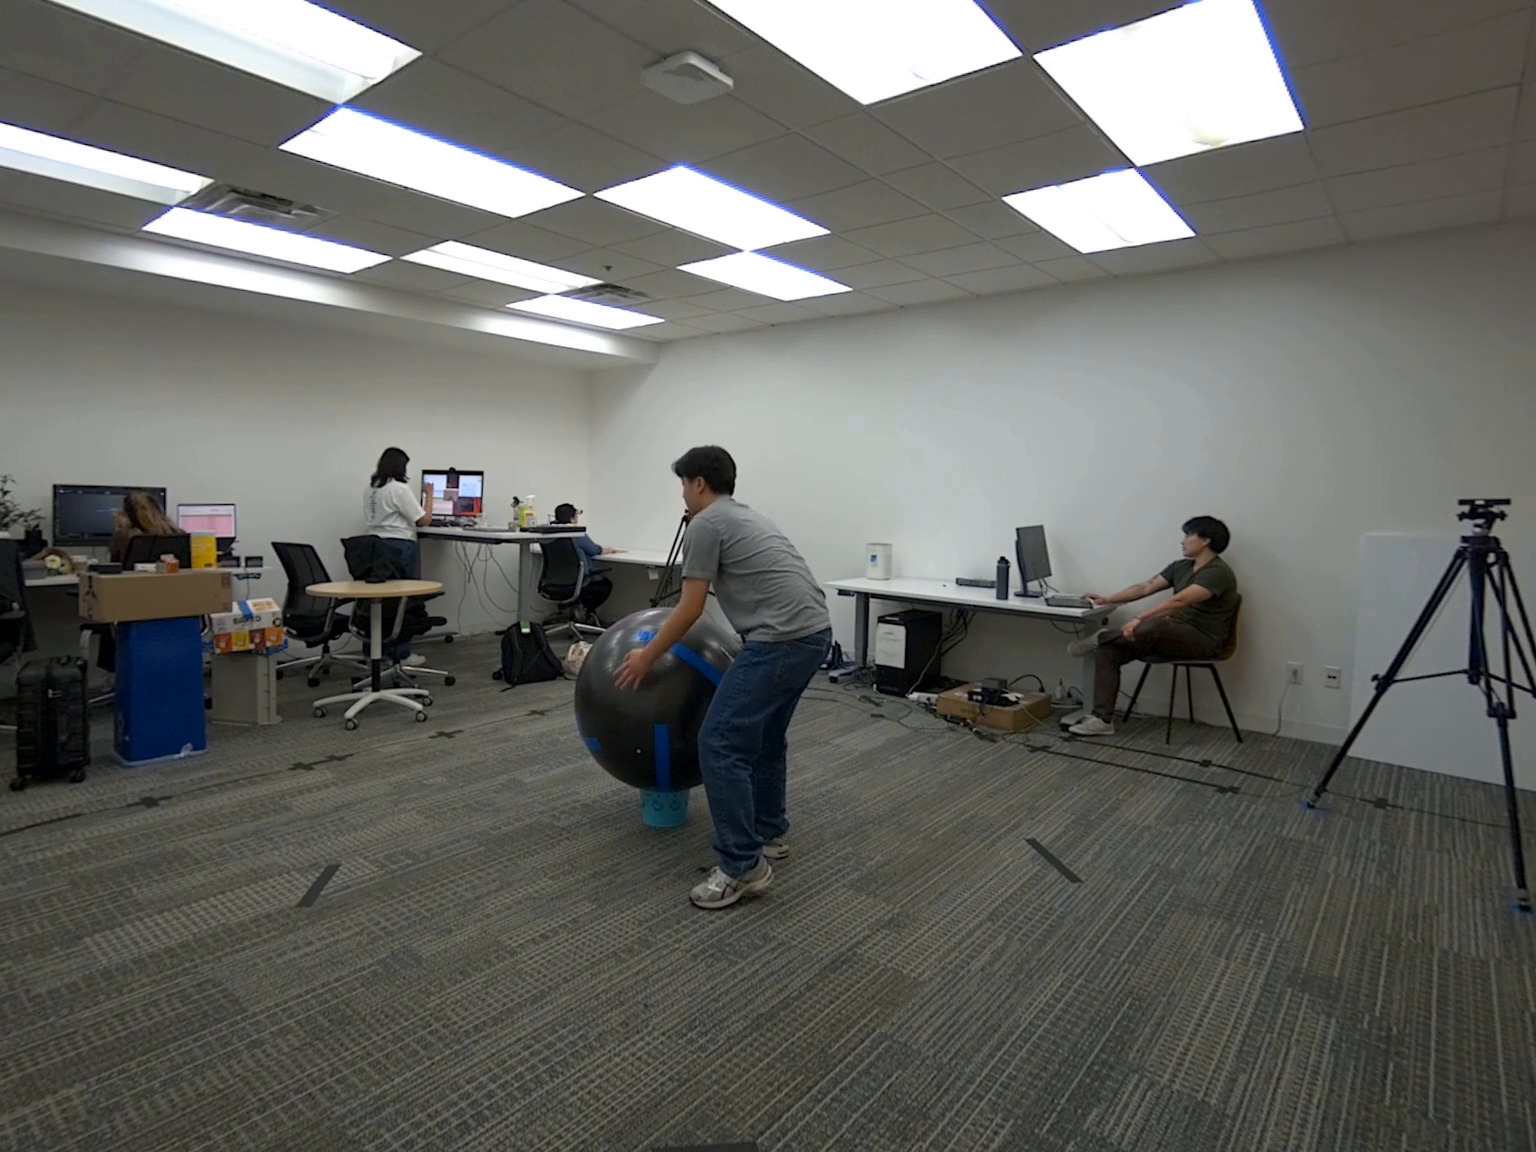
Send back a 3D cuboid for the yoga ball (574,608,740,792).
[{"bbox_3d":[-0.447,0.517,3.576,0.757,0.755,0.762,1,4,-2],"label":"yoga ball"}]
